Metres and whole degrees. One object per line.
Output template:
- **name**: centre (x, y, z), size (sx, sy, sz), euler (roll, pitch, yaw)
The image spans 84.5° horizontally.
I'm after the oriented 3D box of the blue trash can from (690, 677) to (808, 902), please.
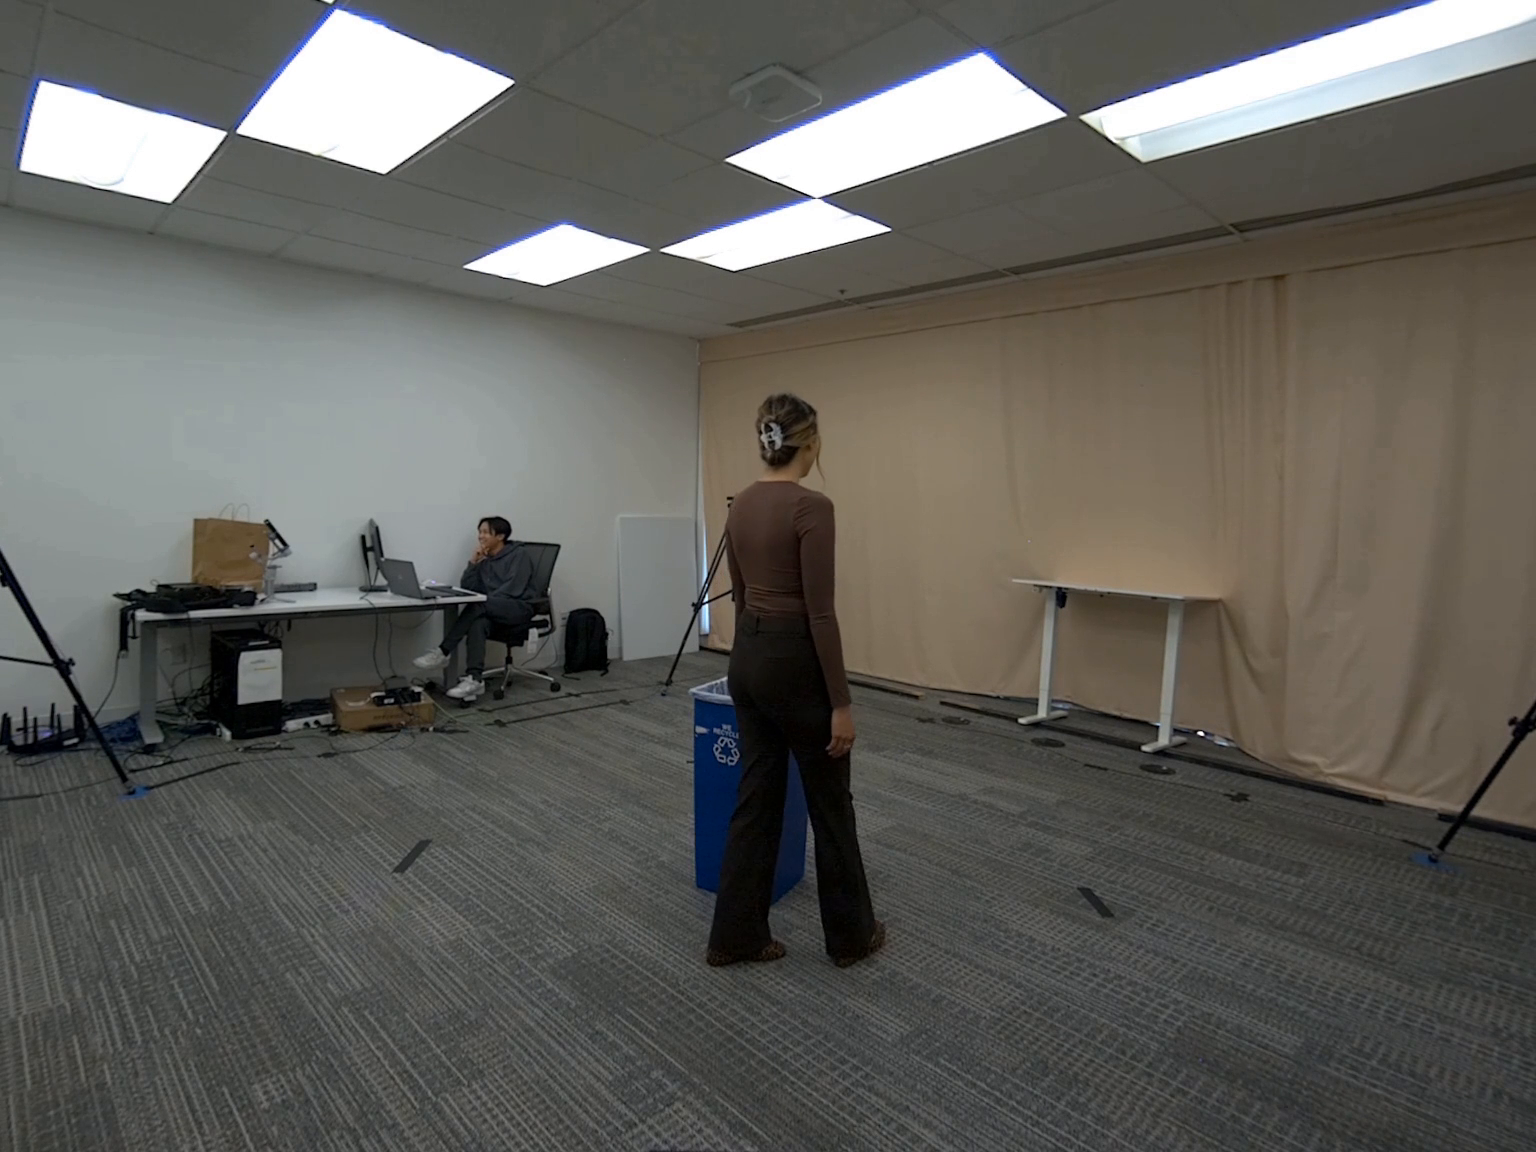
- **blue trash can**: centre (-0.055, 0.756, 3.046), size (0.382, 0.712, 0.371), euler (3, 4, 27)
